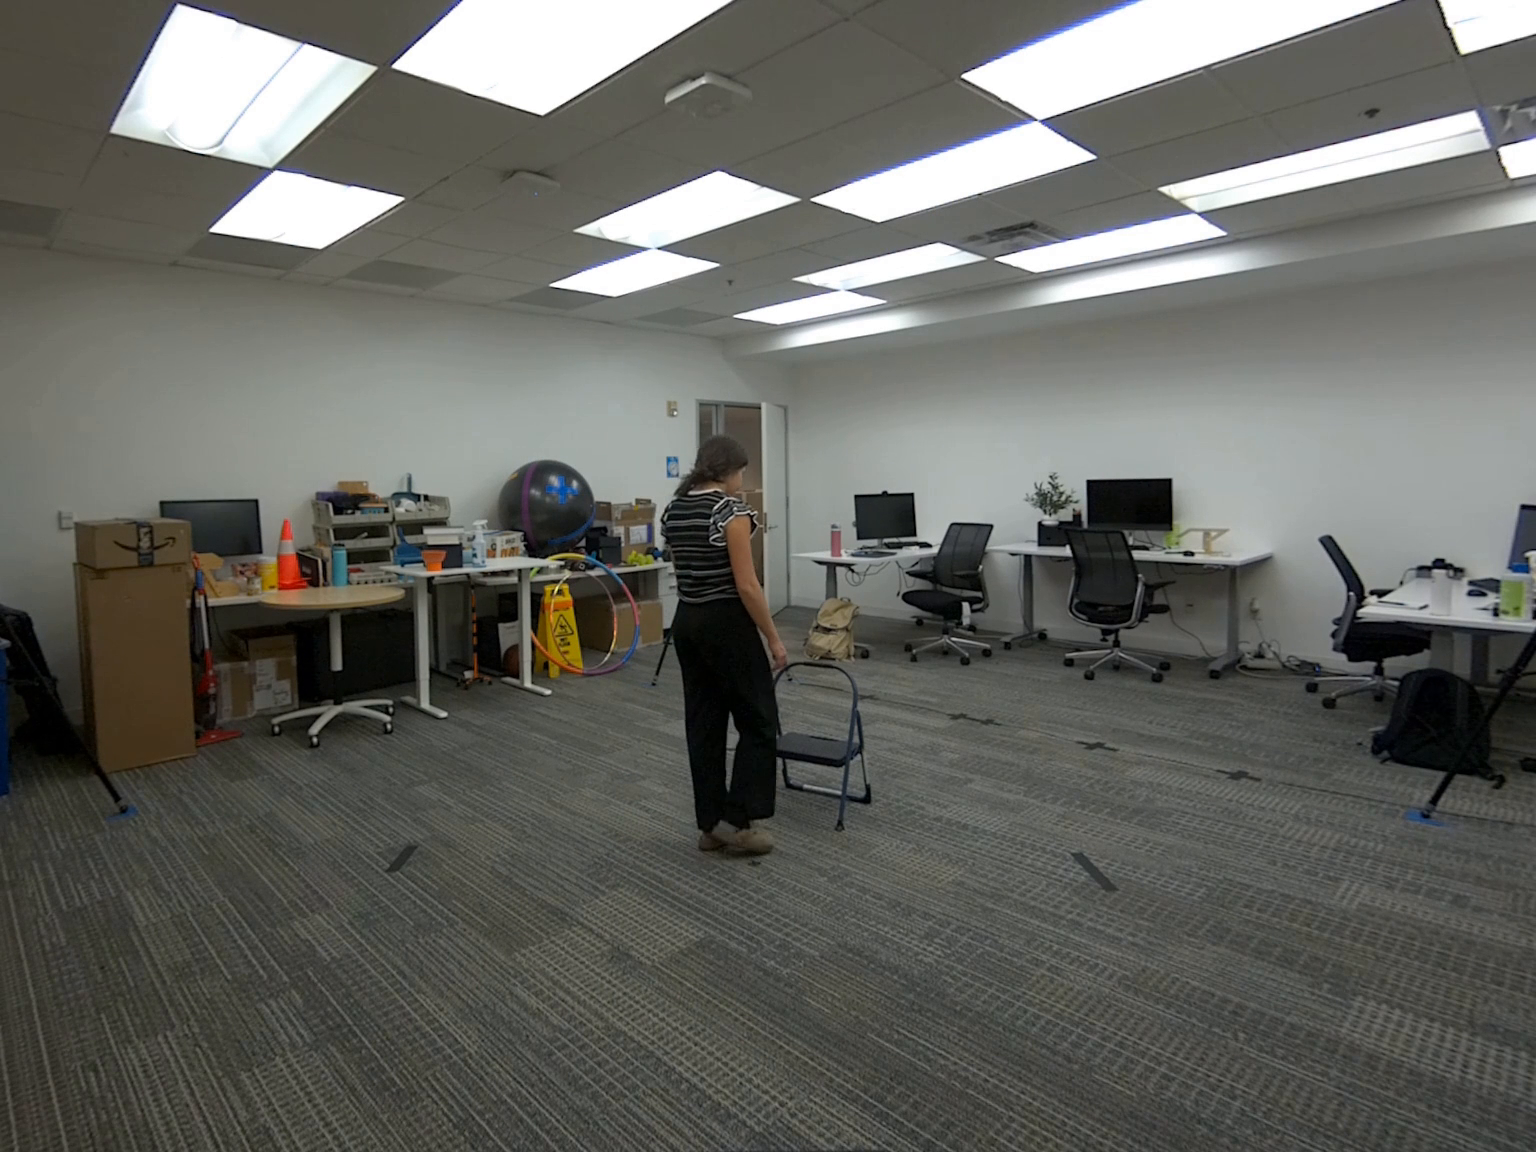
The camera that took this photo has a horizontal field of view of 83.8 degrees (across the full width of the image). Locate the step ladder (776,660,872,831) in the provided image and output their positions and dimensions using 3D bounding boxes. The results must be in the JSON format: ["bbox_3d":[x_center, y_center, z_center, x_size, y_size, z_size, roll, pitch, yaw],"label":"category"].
[{"bbox_3d":[0.183,0.681,3.616,0.442,0.604,0.341,2,5,30],"label":"step ladder"}]
